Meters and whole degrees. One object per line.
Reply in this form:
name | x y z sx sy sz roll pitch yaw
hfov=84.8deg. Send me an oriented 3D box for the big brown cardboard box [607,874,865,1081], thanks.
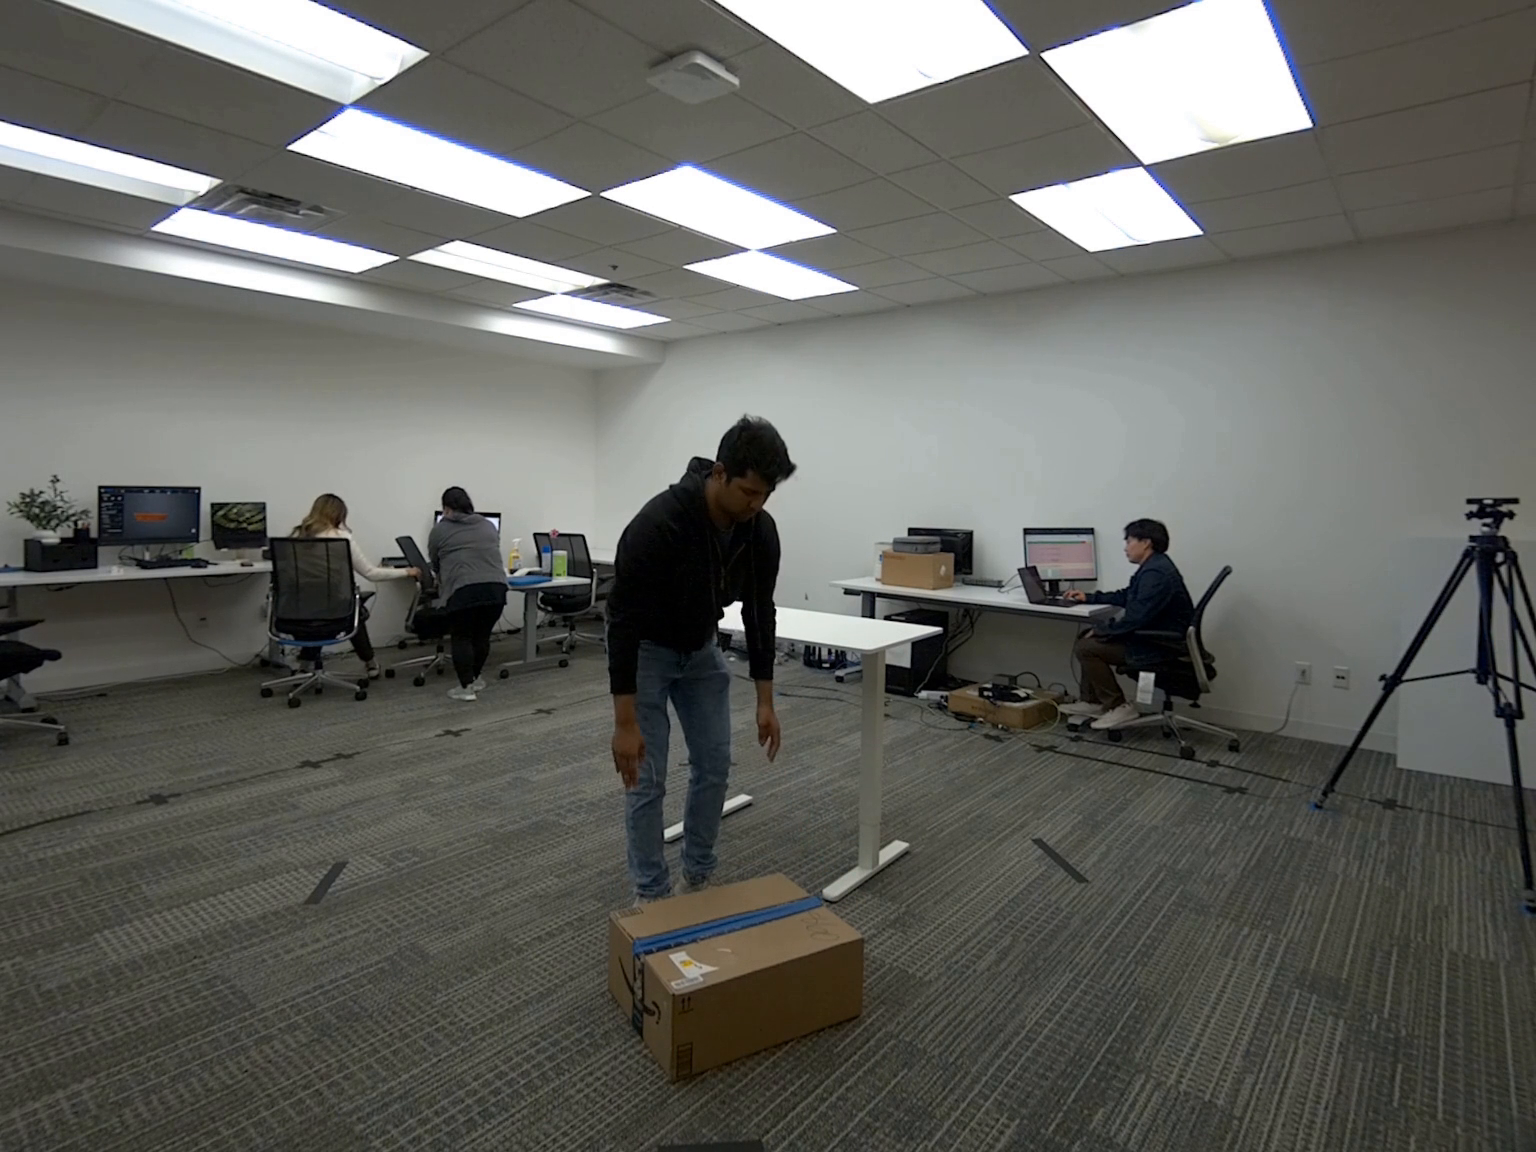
big brown cardboard box | -0.102 1.041 2.289 0.573 0.232 0.431 -1 6 -31
